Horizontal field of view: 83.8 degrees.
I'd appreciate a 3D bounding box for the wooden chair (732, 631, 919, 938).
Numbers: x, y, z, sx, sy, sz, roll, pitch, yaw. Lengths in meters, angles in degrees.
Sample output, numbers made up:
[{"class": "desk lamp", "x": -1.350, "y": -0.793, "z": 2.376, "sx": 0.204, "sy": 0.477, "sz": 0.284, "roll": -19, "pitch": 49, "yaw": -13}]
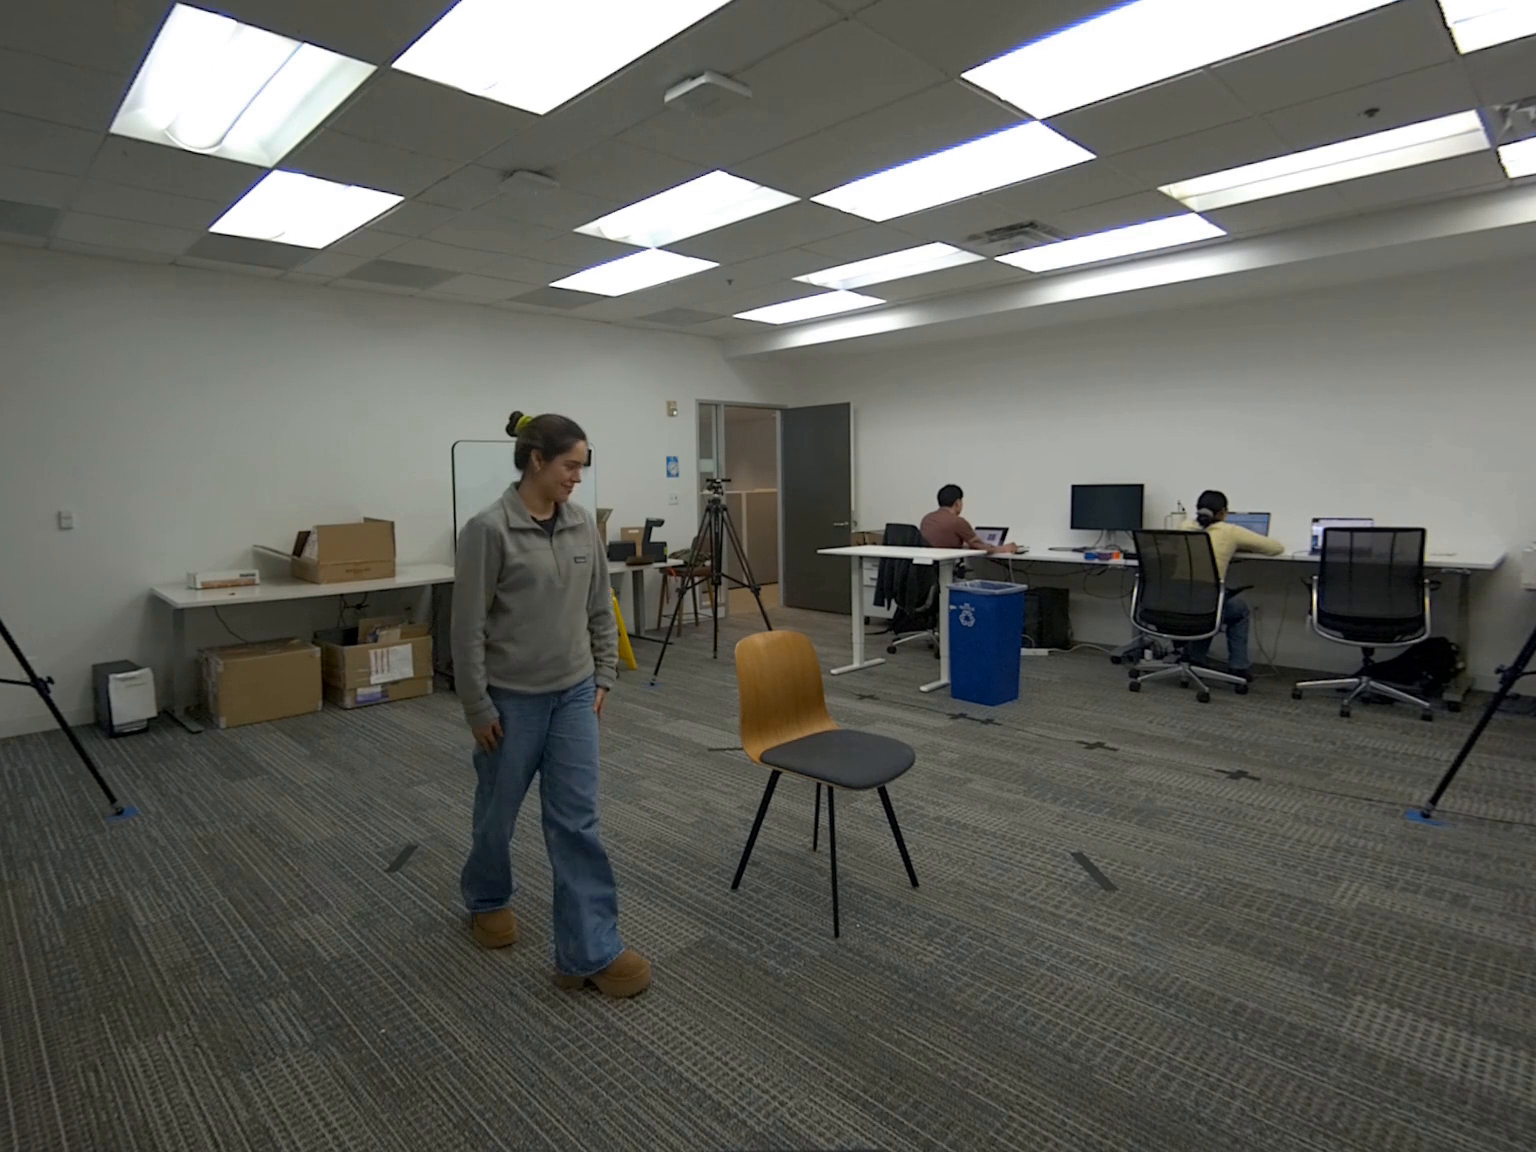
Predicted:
[{"class": "wooden chair", "x": 0.193, "y": 0.639, "z": 2.870, "sx": 0.538, "sy": 0.877, "sz": 0.465, "roll": -3, "pitch": 1, "yaw": 44}]
